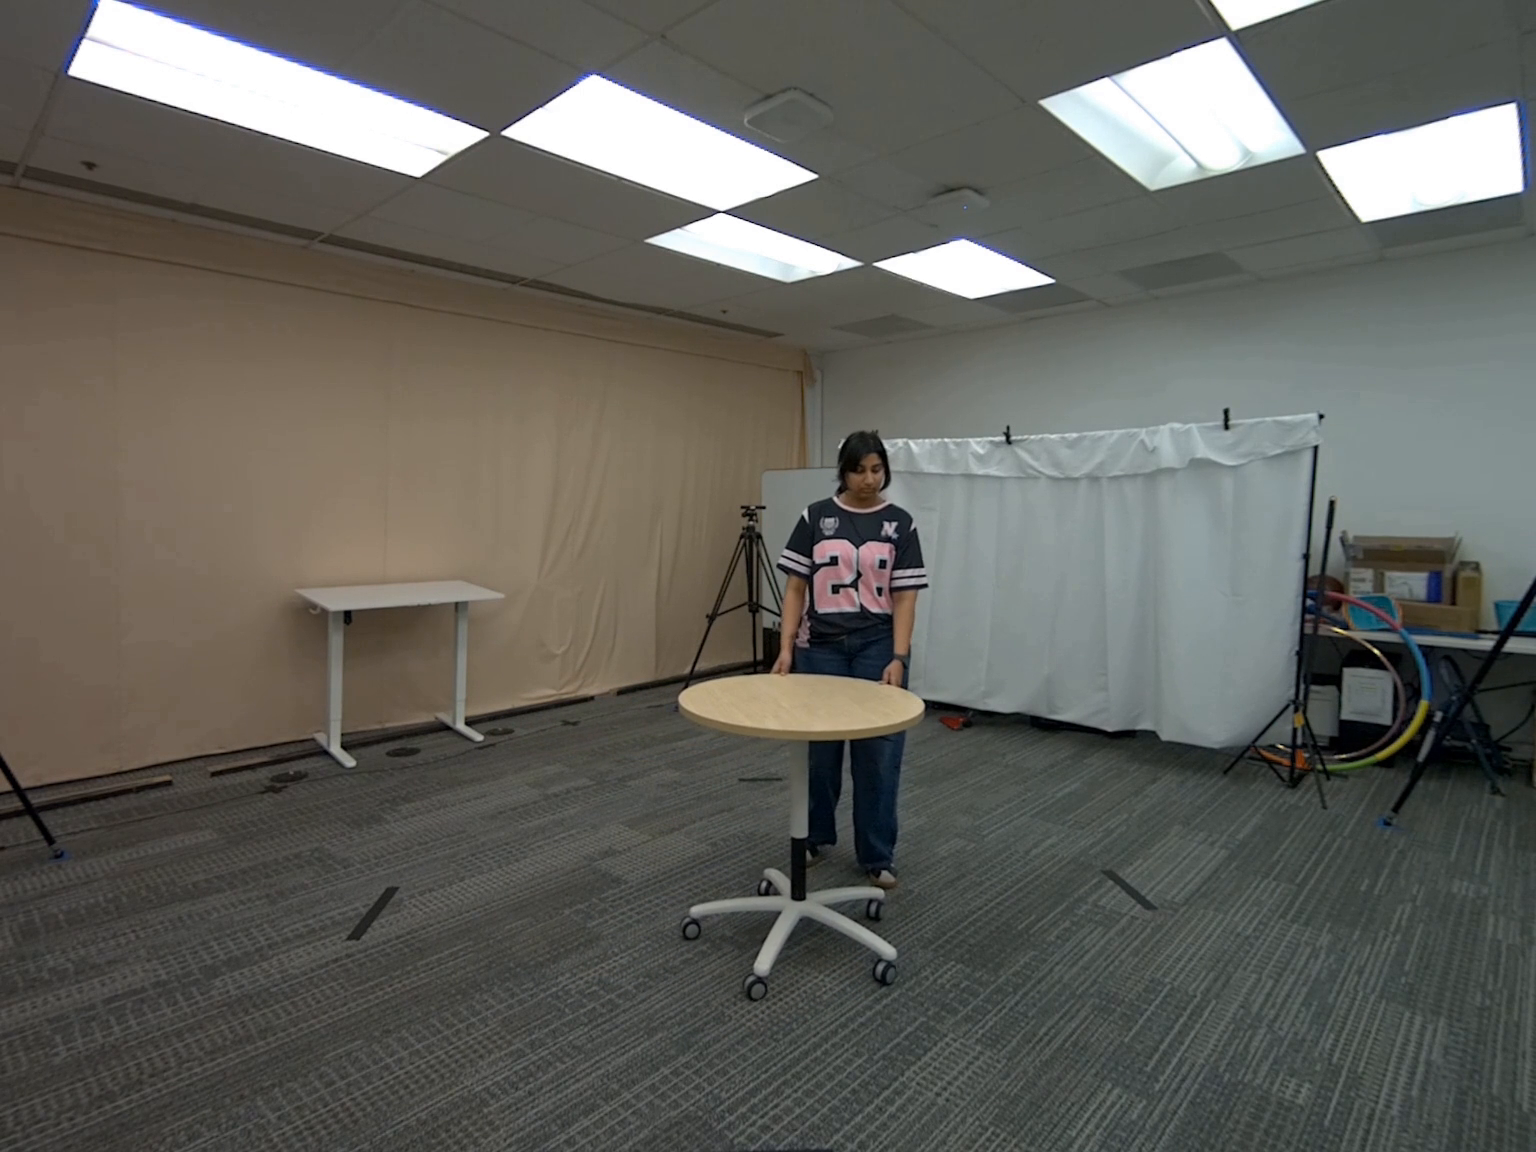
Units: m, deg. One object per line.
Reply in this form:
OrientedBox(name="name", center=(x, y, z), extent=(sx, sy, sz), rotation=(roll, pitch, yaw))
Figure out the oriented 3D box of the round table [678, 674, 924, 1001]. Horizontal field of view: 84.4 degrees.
OrientedBox(name="round table", center=(0.091, 0.783, 2.671), extent=(0.763, 0.792, 0.767), rotation=(0, 4, -2))
